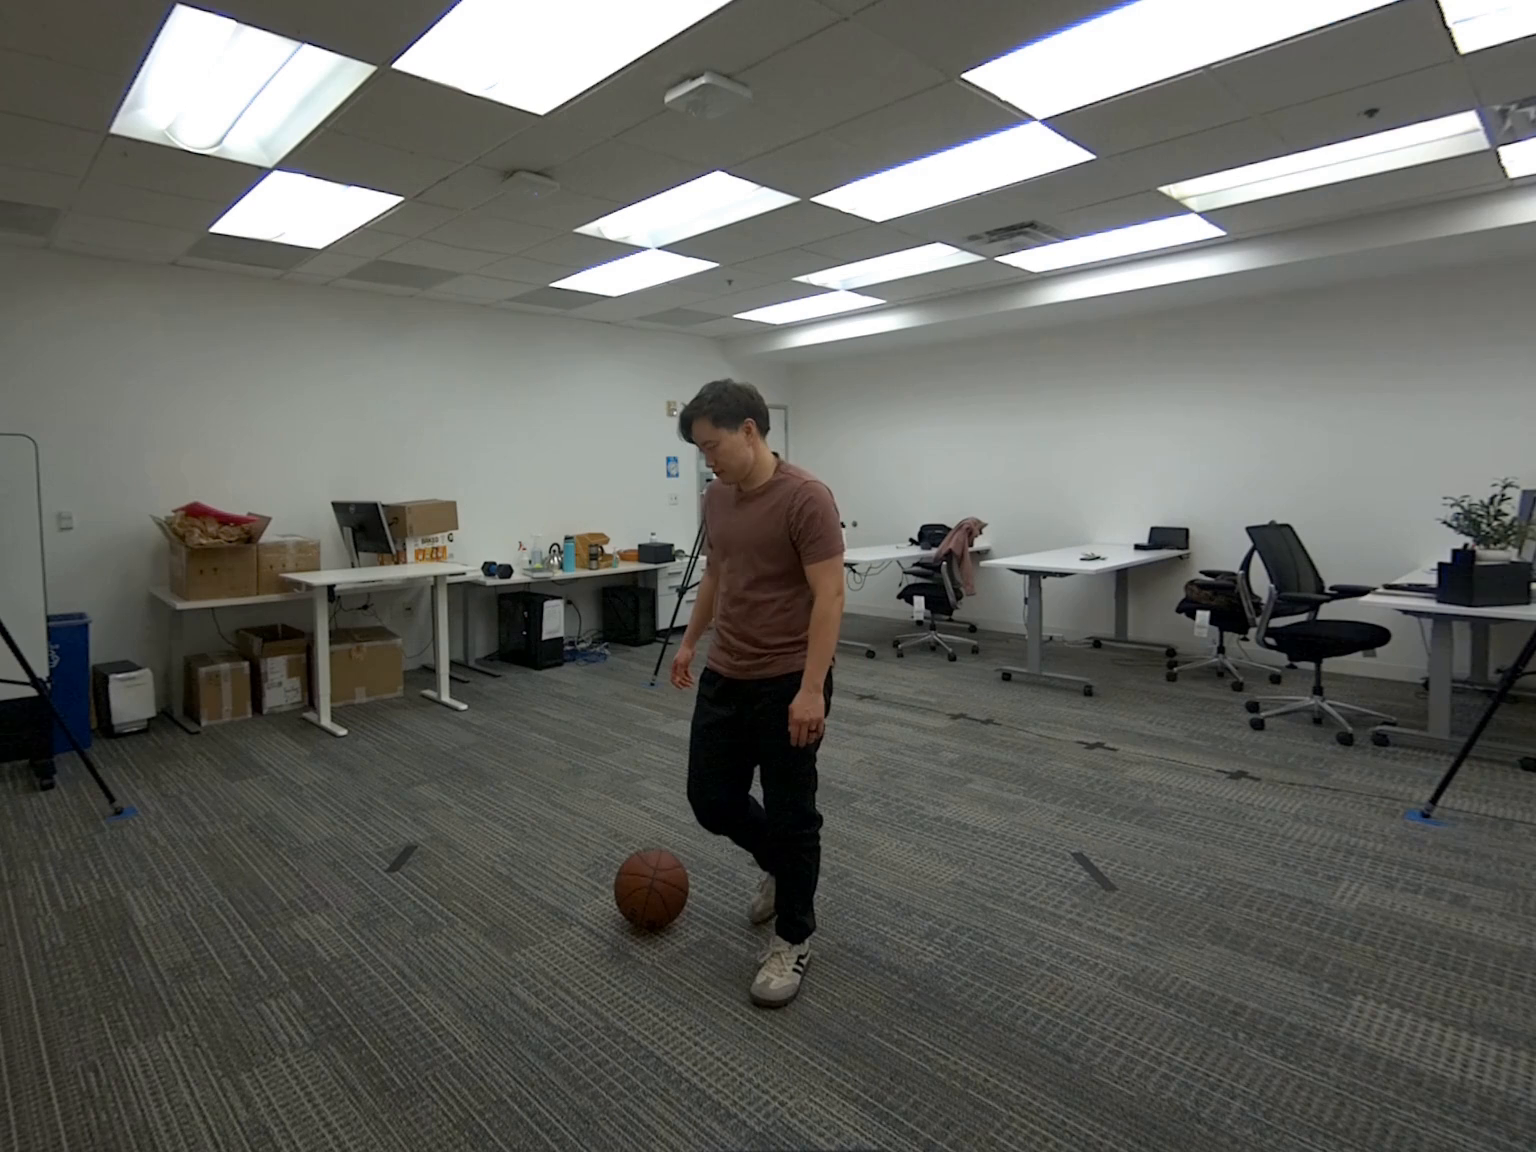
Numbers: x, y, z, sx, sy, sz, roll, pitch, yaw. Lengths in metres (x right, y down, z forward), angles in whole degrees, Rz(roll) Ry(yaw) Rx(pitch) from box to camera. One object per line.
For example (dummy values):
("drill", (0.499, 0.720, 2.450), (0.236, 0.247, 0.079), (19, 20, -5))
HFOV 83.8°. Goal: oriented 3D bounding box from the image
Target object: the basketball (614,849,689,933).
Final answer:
("basketball", (-0.362, 0.983, 2.686), (0.236, 0.235, 0.237), (-1, 5, -2))
